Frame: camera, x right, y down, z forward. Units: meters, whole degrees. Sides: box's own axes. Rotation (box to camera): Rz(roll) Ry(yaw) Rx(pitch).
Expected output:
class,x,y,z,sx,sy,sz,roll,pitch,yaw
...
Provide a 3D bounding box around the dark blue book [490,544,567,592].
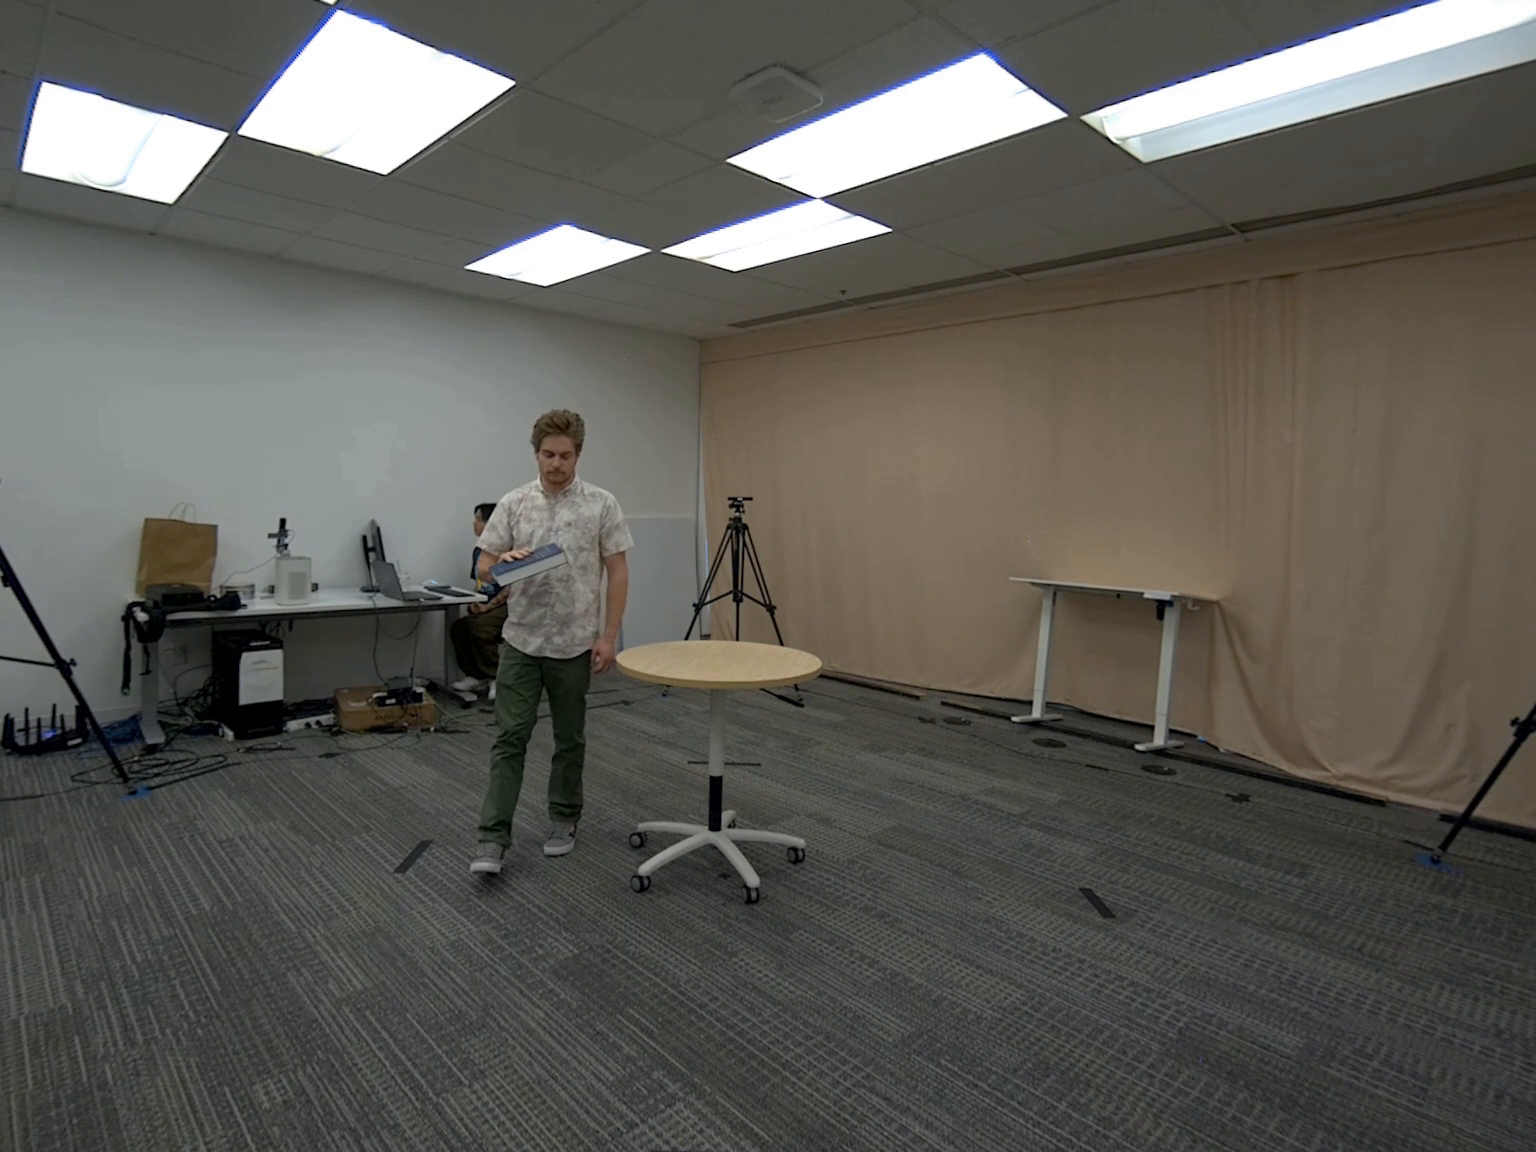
class,x,y,z,sx,sy,sz,roll,pitch,yaw
dark blue book,-0.851,-0.038,2.942,0.243,0.044,0.168,-22,22,-21
